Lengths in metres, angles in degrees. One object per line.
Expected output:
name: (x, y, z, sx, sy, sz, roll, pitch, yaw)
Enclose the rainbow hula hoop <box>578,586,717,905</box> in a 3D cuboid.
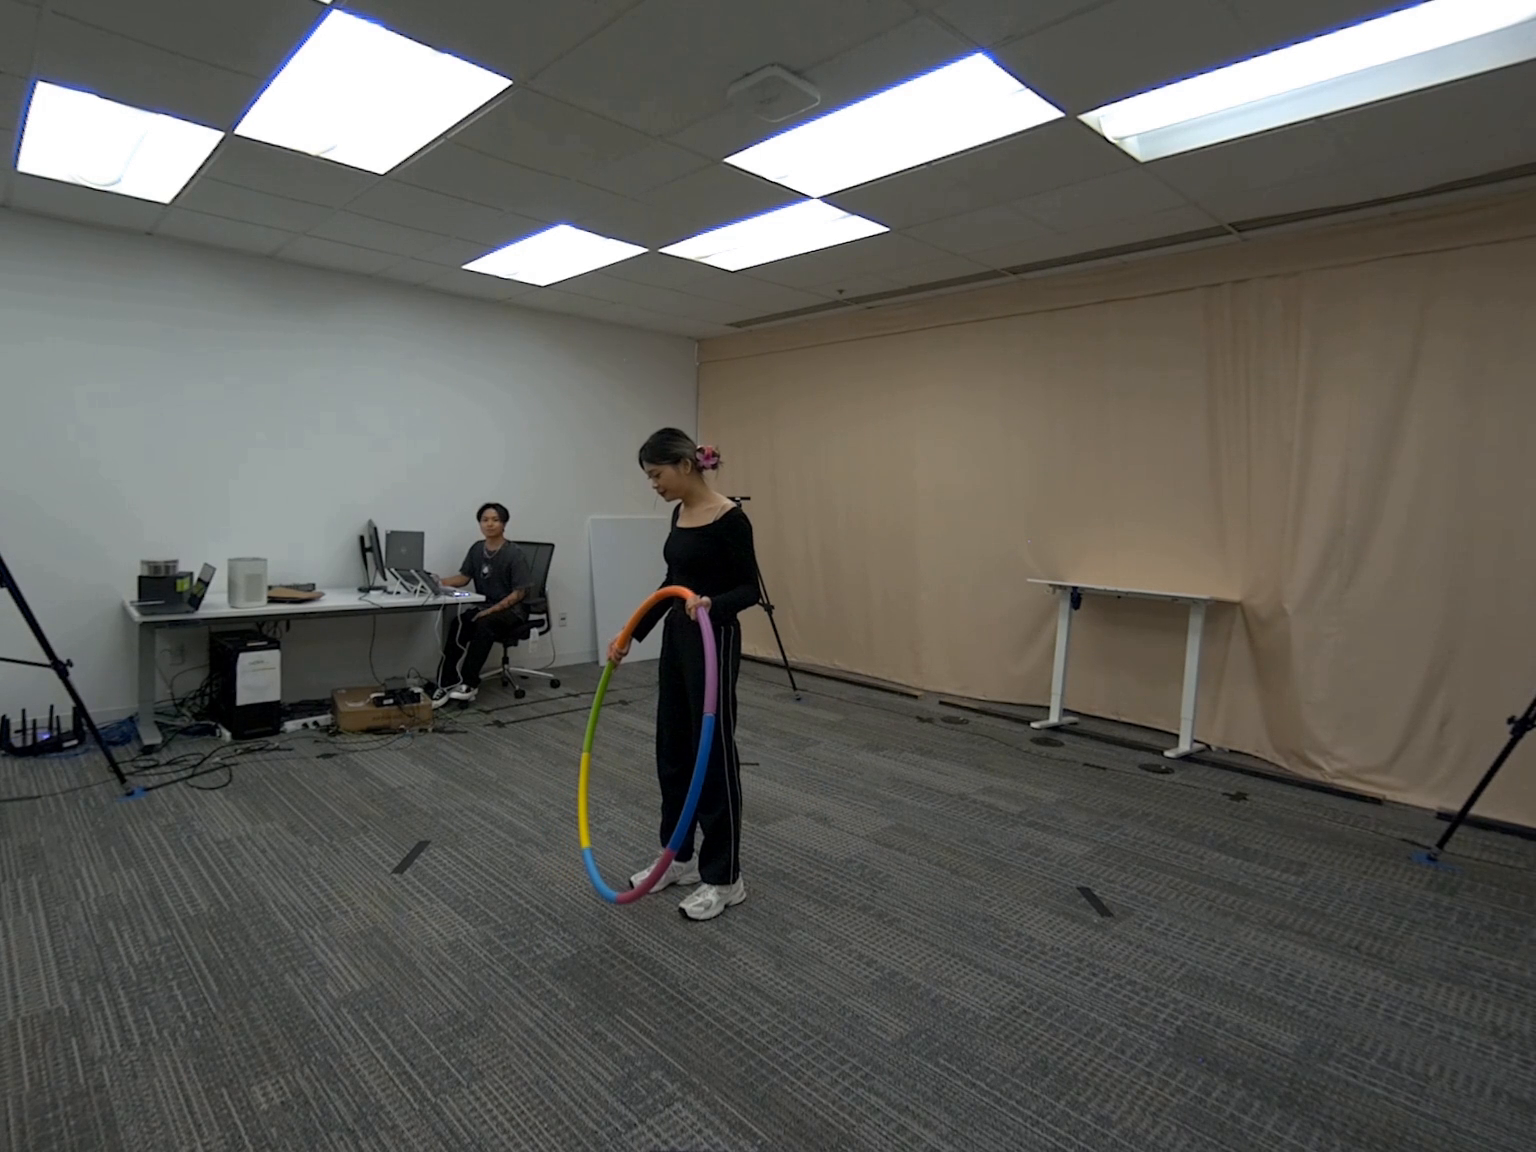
rainbow hula hoop: (-0.423, 0.520, 2.686, 0.035, 0.980, 1.000, 17, -3, -28)
